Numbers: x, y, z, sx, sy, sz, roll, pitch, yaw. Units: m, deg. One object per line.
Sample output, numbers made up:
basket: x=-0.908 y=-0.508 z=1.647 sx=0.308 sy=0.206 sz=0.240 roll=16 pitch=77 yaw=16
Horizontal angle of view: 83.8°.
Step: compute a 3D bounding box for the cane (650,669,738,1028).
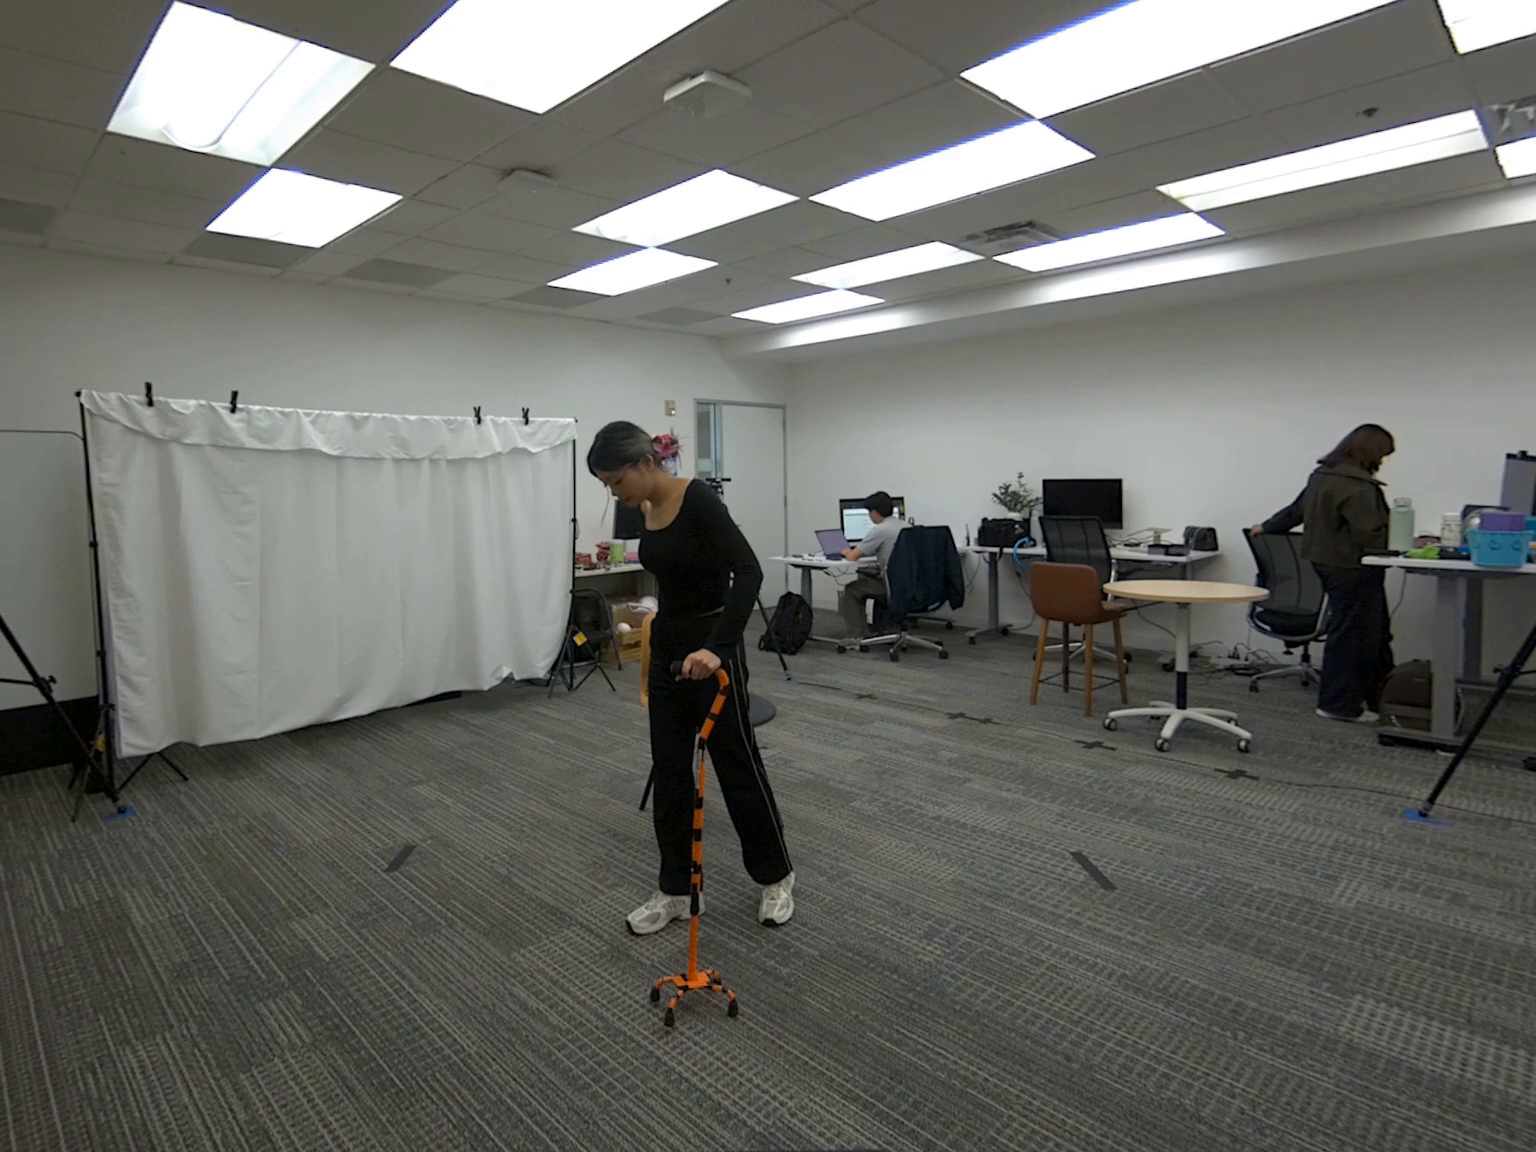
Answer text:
cane: x=-0.178 y=0.689 z=2.254 sx=0.202 sy=0.907 sz=0.154 roll=1 pitch=1 yaw=-21
